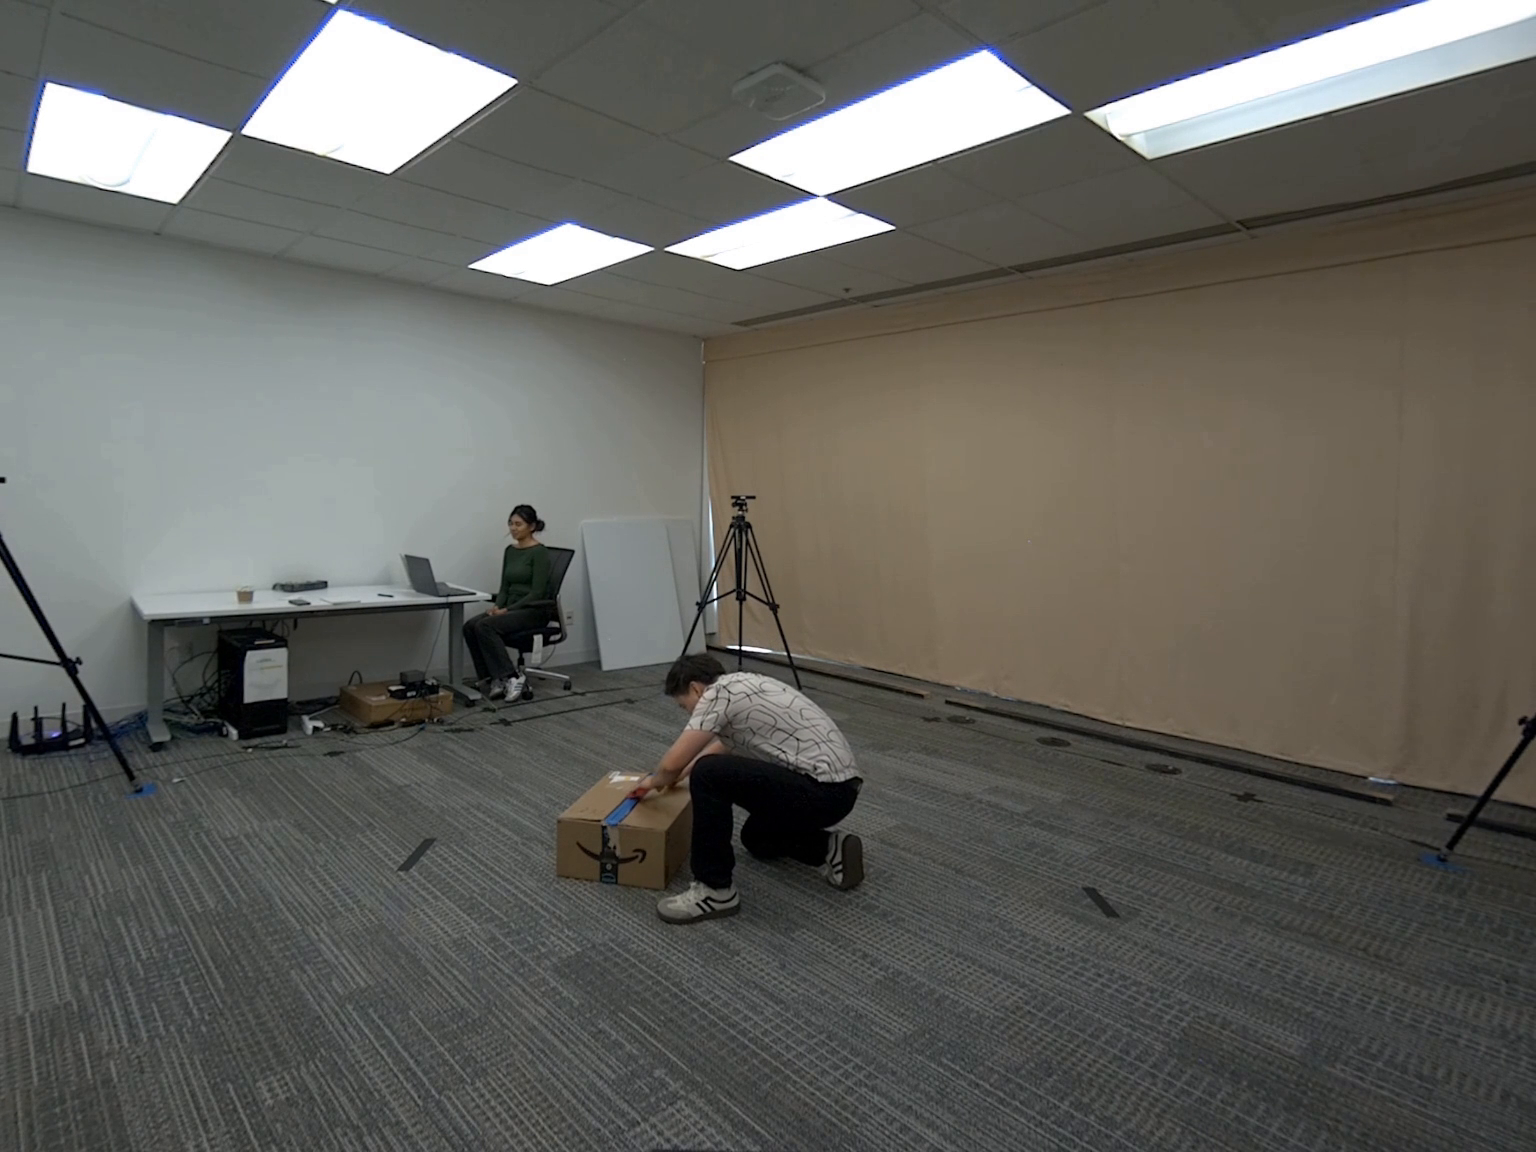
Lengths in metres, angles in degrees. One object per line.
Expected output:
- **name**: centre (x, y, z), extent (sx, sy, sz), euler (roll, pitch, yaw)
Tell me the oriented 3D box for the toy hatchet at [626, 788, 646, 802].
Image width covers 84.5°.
- **toy hatchet**: centre (-0.449, 0.835, 3.305), extent (0.132, 0.030, 0.263), euler (-22, -17, 25)
